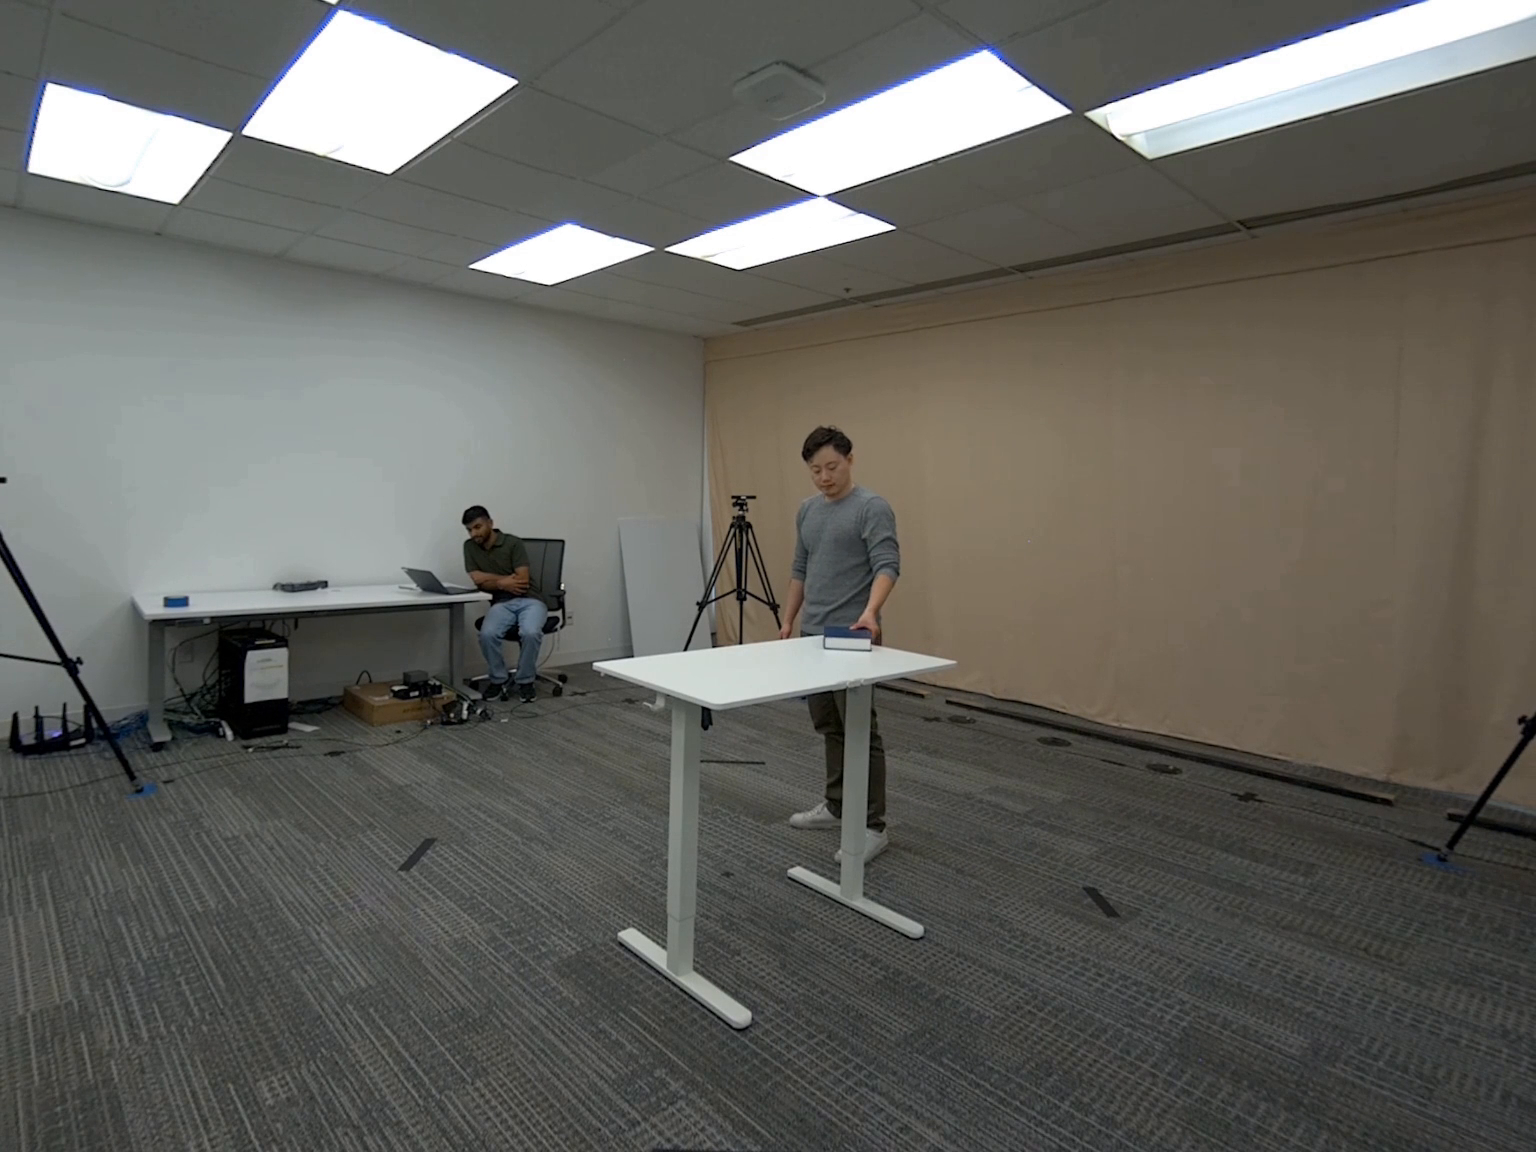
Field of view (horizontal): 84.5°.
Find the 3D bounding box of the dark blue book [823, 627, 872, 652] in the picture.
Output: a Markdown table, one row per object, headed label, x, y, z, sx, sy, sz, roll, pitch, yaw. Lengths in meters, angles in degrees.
| label | x | y | z | sx | sy | sz | roll | pitch | yaw |
| --- | --- | --- | --- | --- | --- | --- | --- | --- | --- |
| dark blue book | 0.267 | 0.219 | 2.974 | 0.165 | 0.045 | 0.244 | 3 | 5 | 9 |
